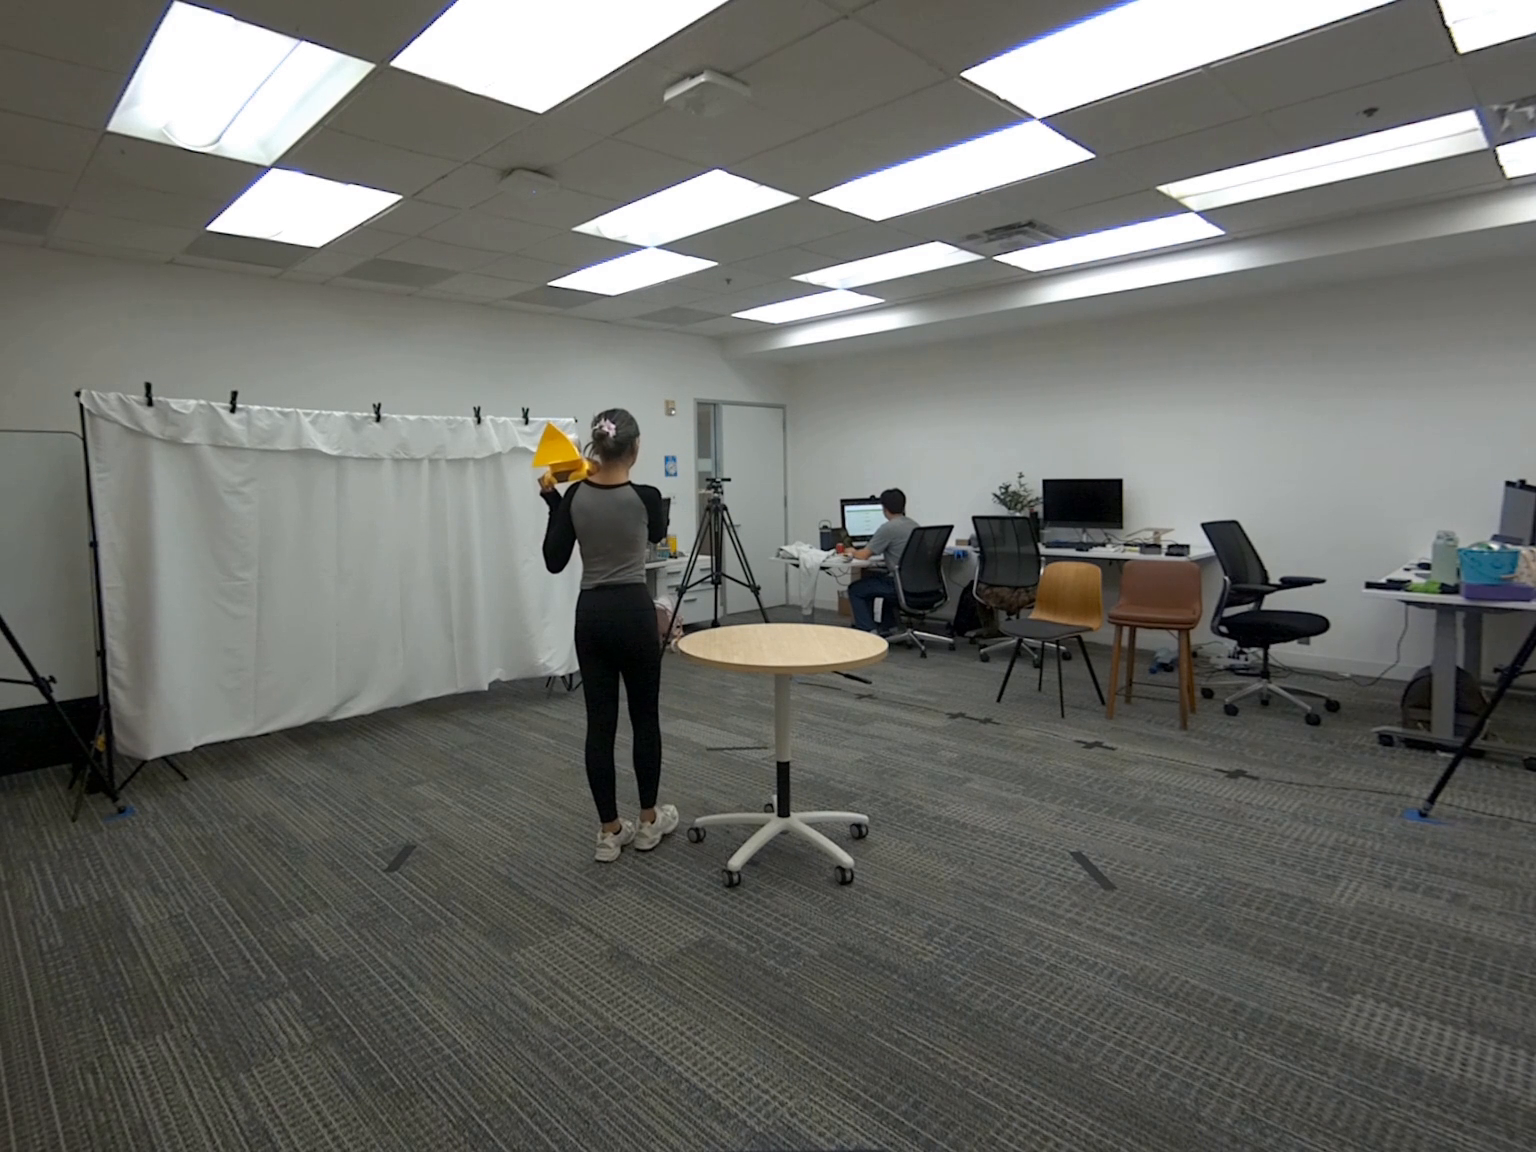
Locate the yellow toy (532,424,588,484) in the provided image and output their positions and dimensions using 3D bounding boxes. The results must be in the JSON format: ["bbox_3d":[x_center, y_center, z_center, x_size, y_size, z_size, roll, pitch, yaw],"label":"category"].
[{"bbox_3d":[-0.764,-0.480,3.227,0.207,0.227,0.193,-8,15,15],"label":"yellow toy"}]
